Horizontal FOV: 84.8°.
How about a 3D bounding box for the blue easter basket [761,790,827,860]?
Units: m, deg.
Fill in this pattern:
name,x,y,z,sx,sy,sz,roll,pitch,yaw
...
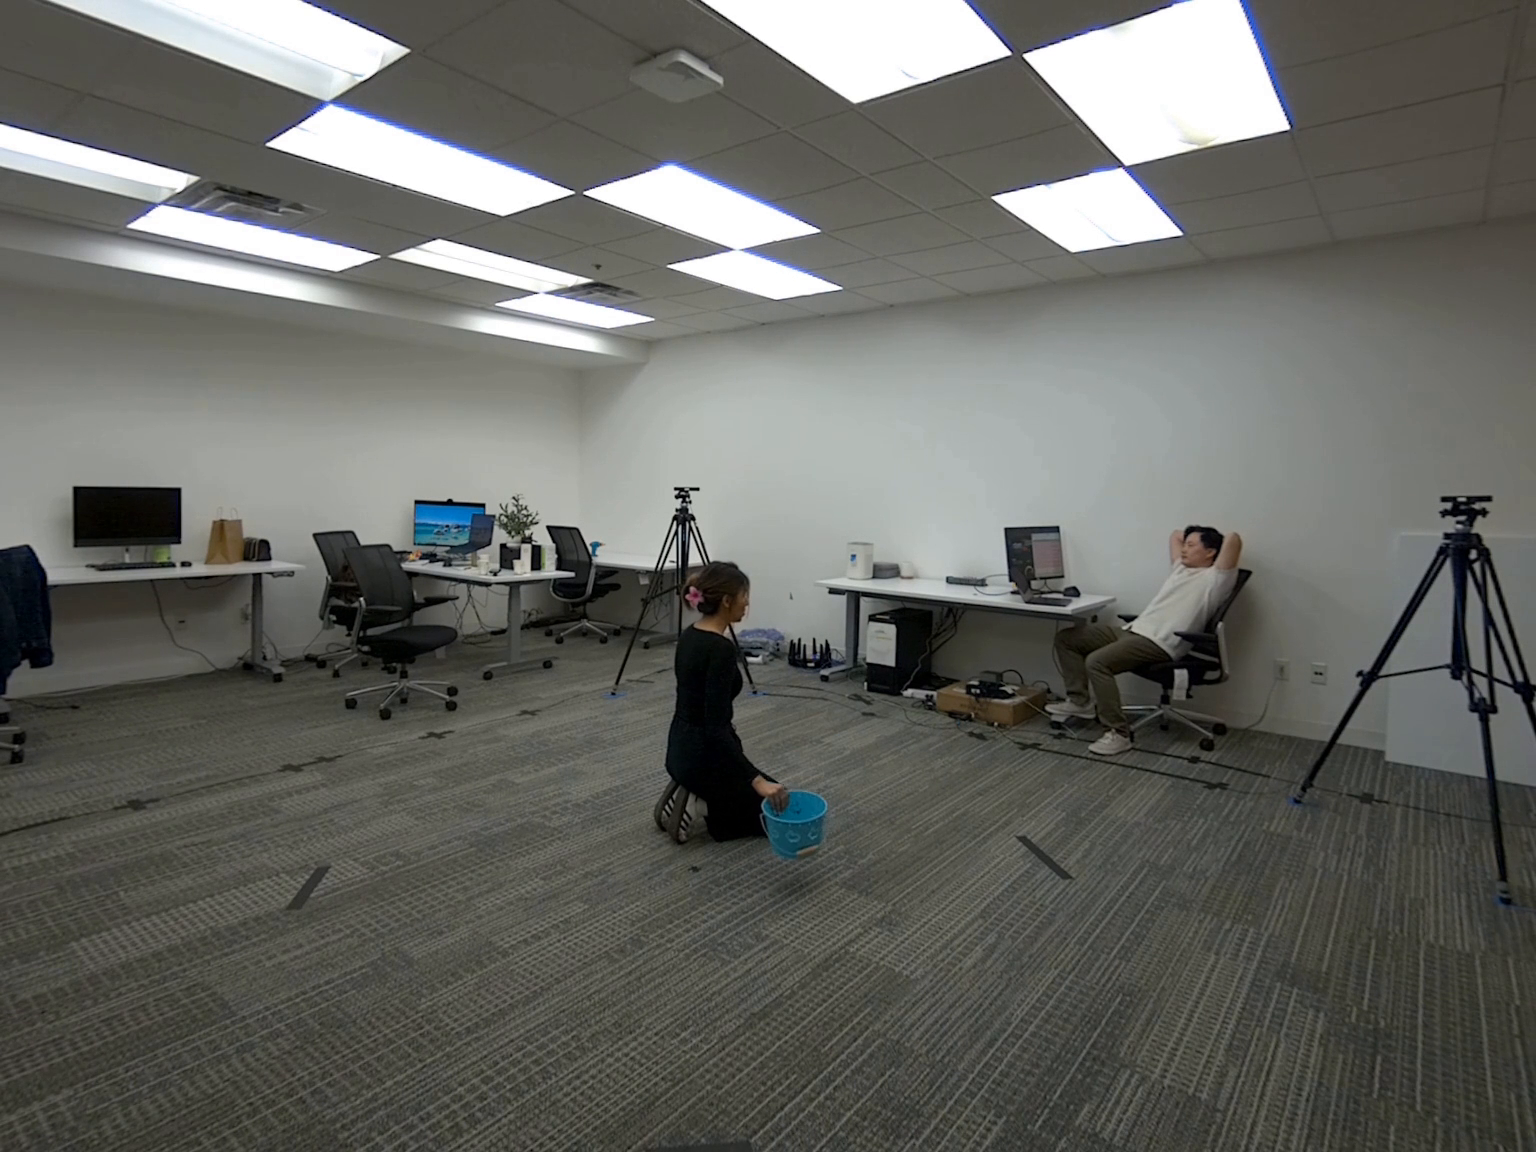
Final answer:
name,x,y,z,sx,sy,sz,roll,pitch,yaw
blue easter basket,0.088,0.880,2.996,0.243,0.154,0.246,-2,11,-1
